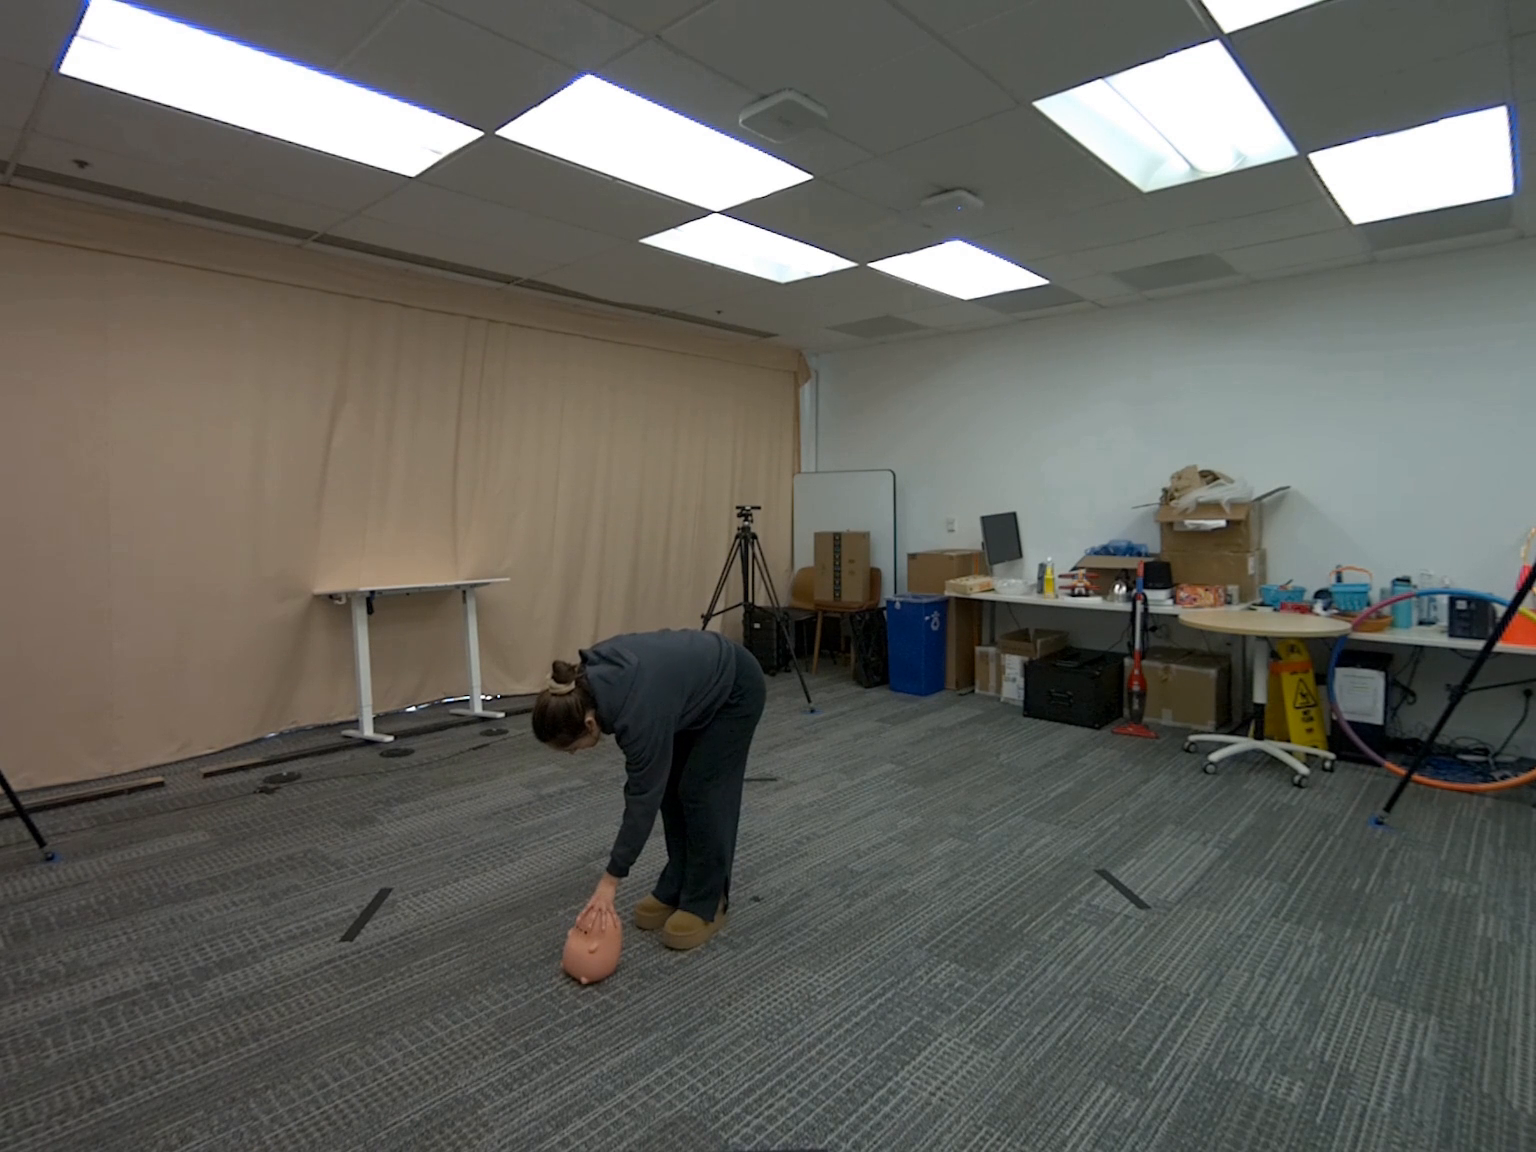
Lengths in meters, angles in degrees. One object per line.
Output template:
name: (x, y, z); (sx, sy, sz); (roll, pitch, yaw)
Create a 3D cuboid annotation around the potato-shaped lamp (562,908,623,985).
potato-shaped lamp: (-0.504, 1.096, 2.513); (0.170, 0.198, 0.165); (7, -3, 44)
